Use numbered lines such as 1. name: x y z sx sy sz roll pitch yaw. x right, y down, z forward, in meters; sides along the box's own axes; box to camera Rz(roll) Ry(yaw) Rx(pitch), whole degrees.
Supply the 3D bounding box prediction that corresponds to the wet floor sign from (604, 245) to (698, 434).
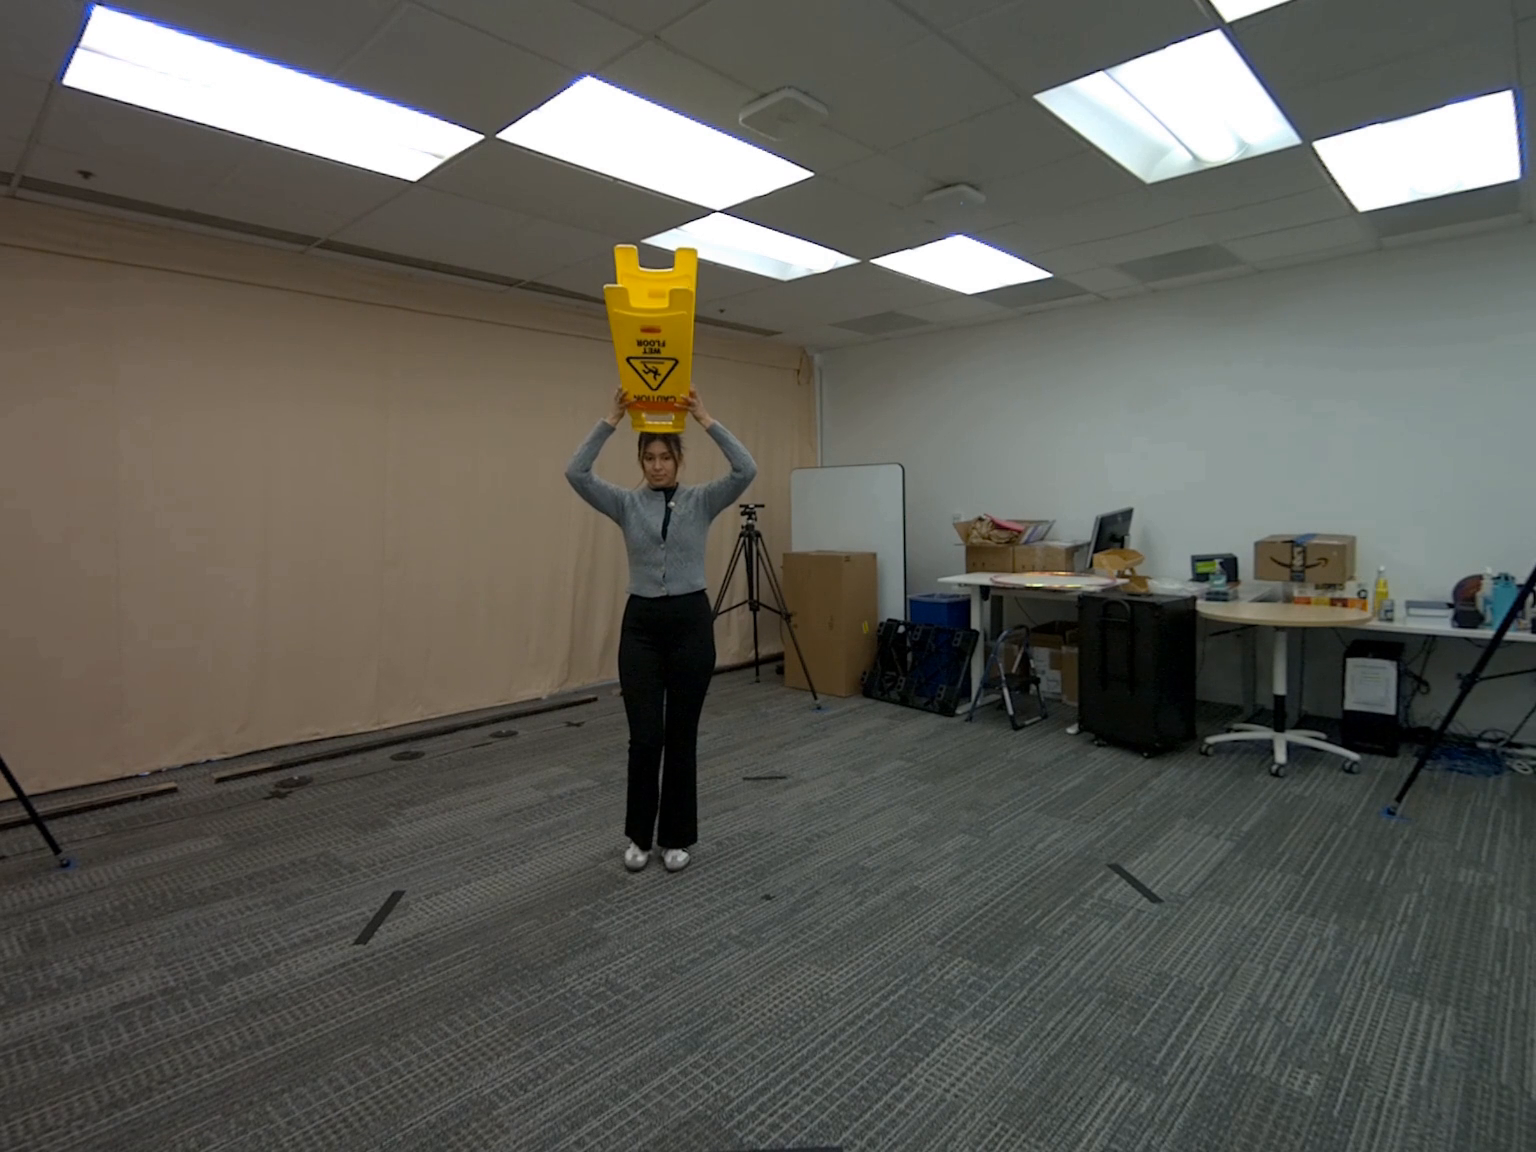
1. wet floor sign: -0.390 -0.764 2.917 0.282 0.635 0.295 3 45 -2
